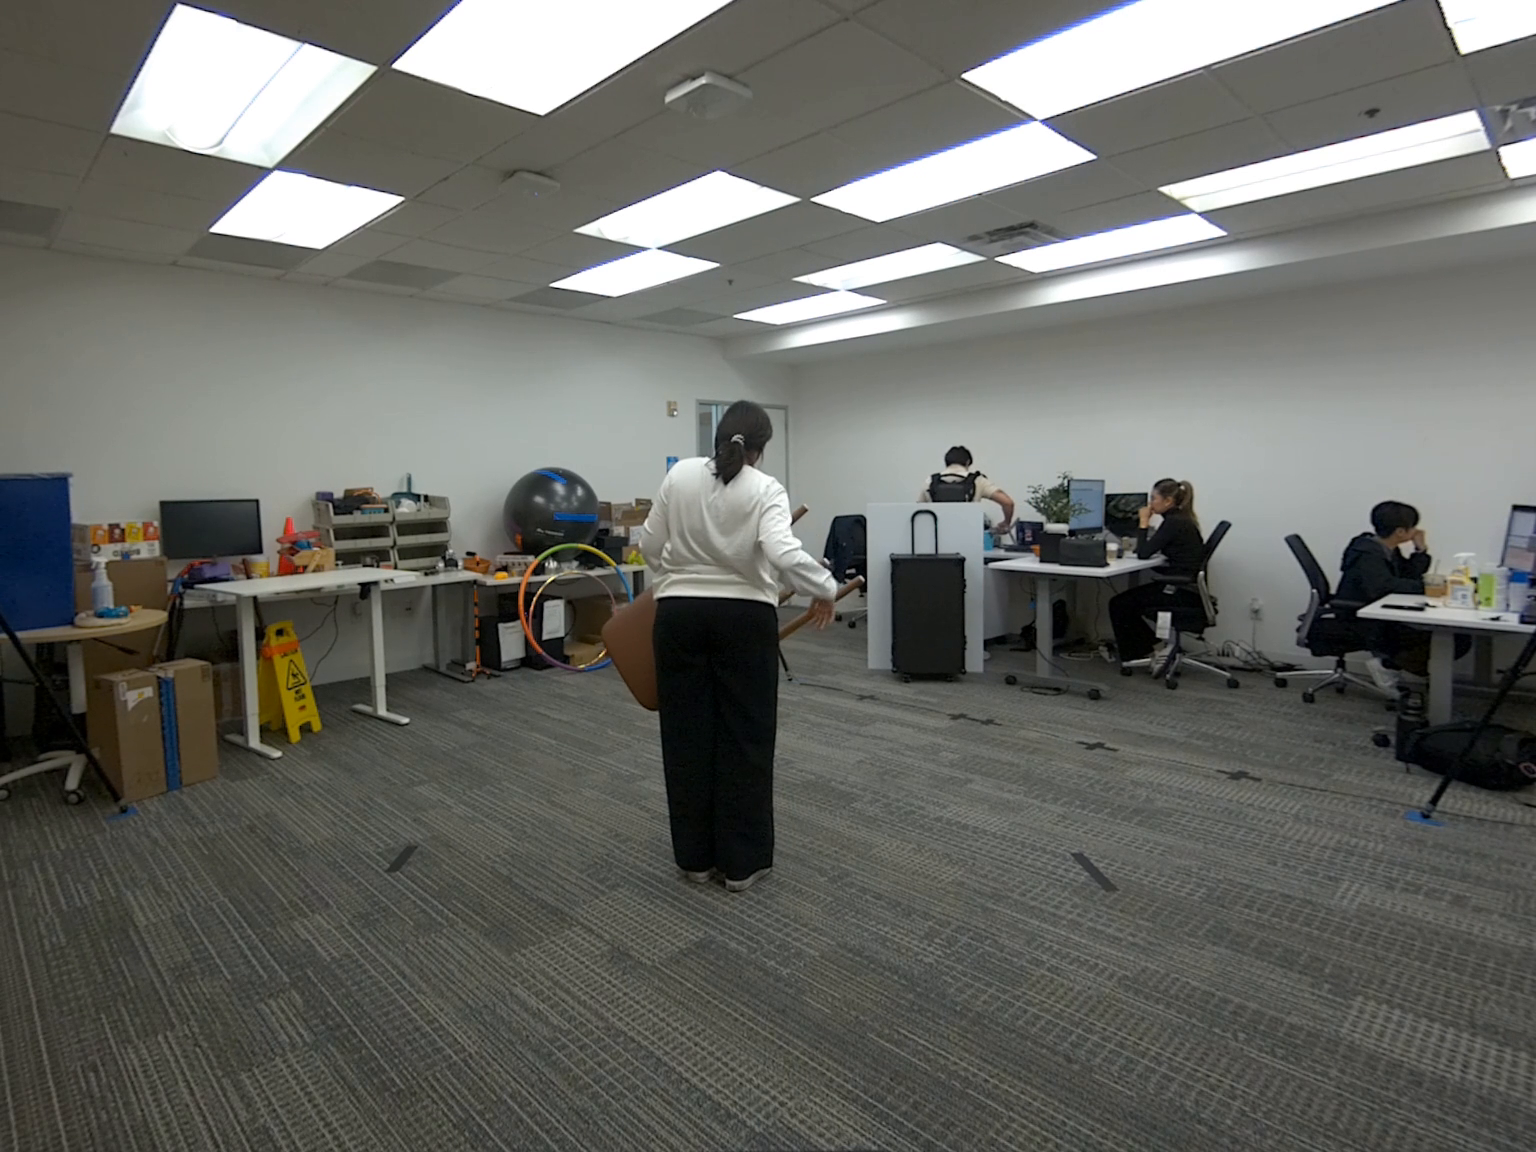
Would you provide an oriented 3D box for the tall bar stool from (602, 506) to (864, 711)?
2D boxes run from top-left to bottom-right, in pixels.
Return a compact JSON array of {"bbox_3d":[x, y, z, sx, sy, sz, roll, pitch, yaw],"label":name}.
[{"bbox_3d":[-0.140,0.112,3.310,0.891,0.469,0.454,-39,-21,11],"label":"tall bar stool"}]
